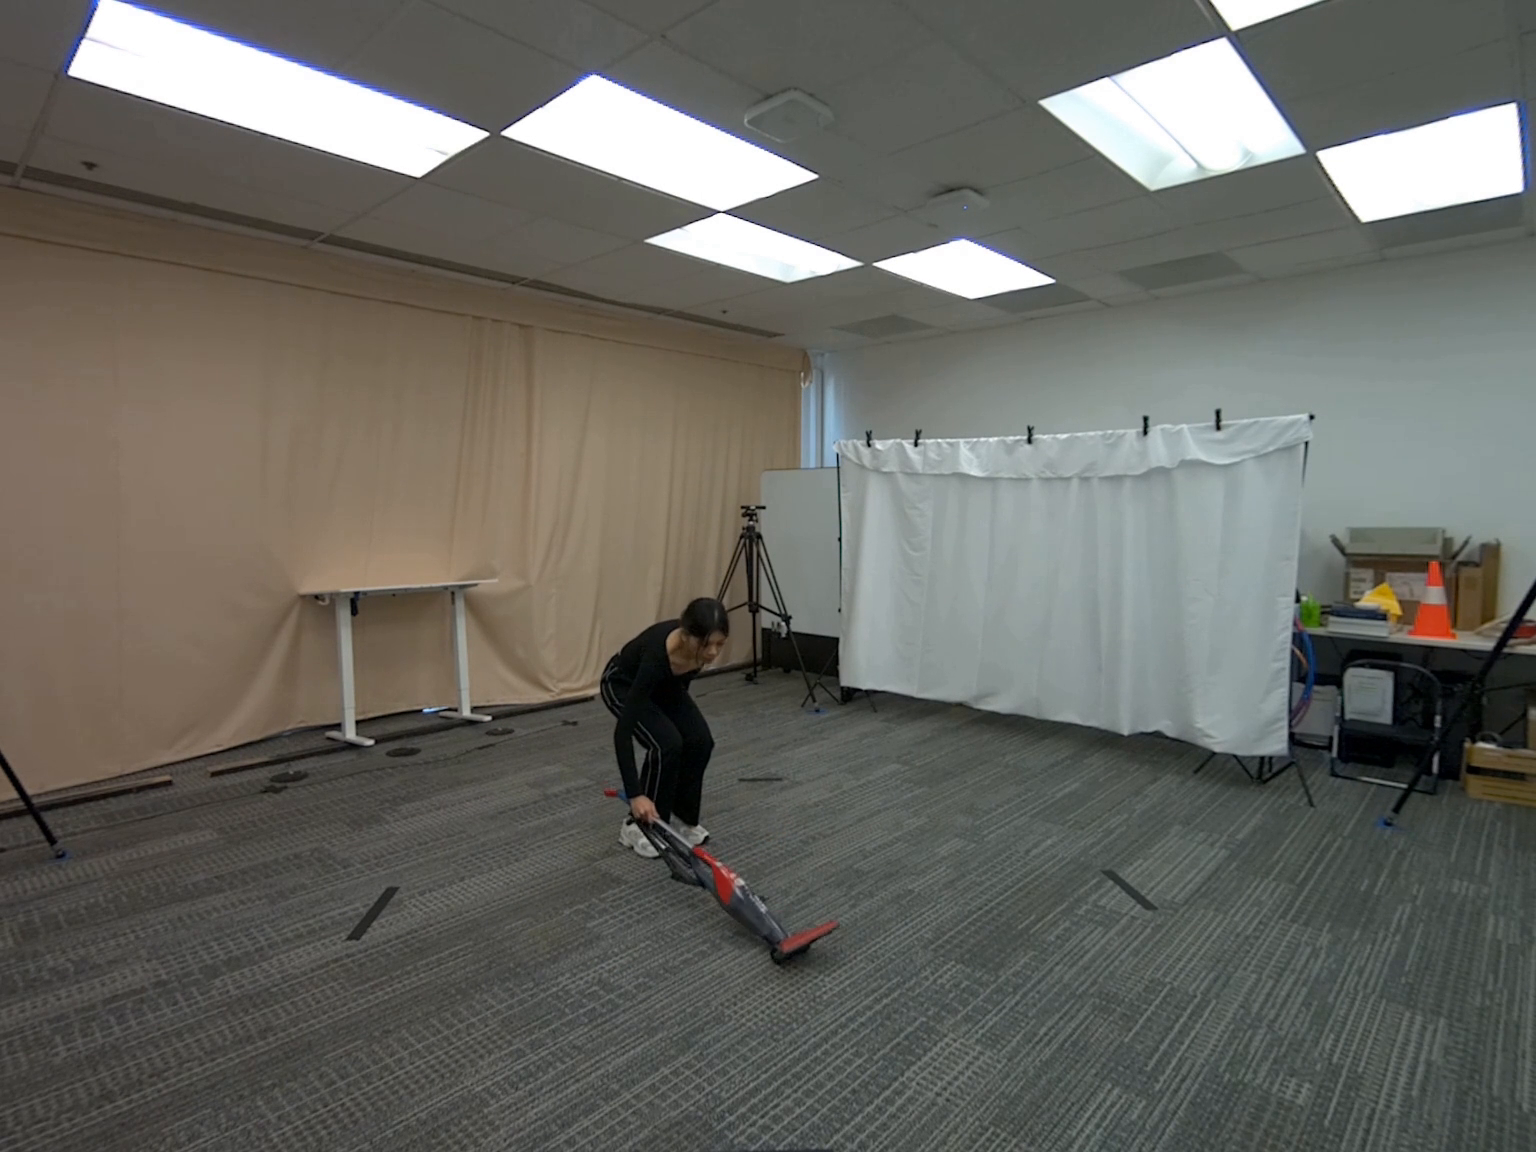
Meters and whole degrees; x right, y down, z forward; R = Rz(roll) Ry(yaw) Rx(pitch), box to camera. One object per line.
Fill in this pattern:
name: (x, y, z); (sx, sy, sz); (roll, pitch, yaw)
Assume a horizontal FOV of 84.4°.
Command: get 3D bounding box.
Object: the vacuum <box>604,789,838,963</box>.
vacuum: (-0.250, 0.999, 2.926); (0.245, 0.143, 1.088); (-8, 19, -42)
